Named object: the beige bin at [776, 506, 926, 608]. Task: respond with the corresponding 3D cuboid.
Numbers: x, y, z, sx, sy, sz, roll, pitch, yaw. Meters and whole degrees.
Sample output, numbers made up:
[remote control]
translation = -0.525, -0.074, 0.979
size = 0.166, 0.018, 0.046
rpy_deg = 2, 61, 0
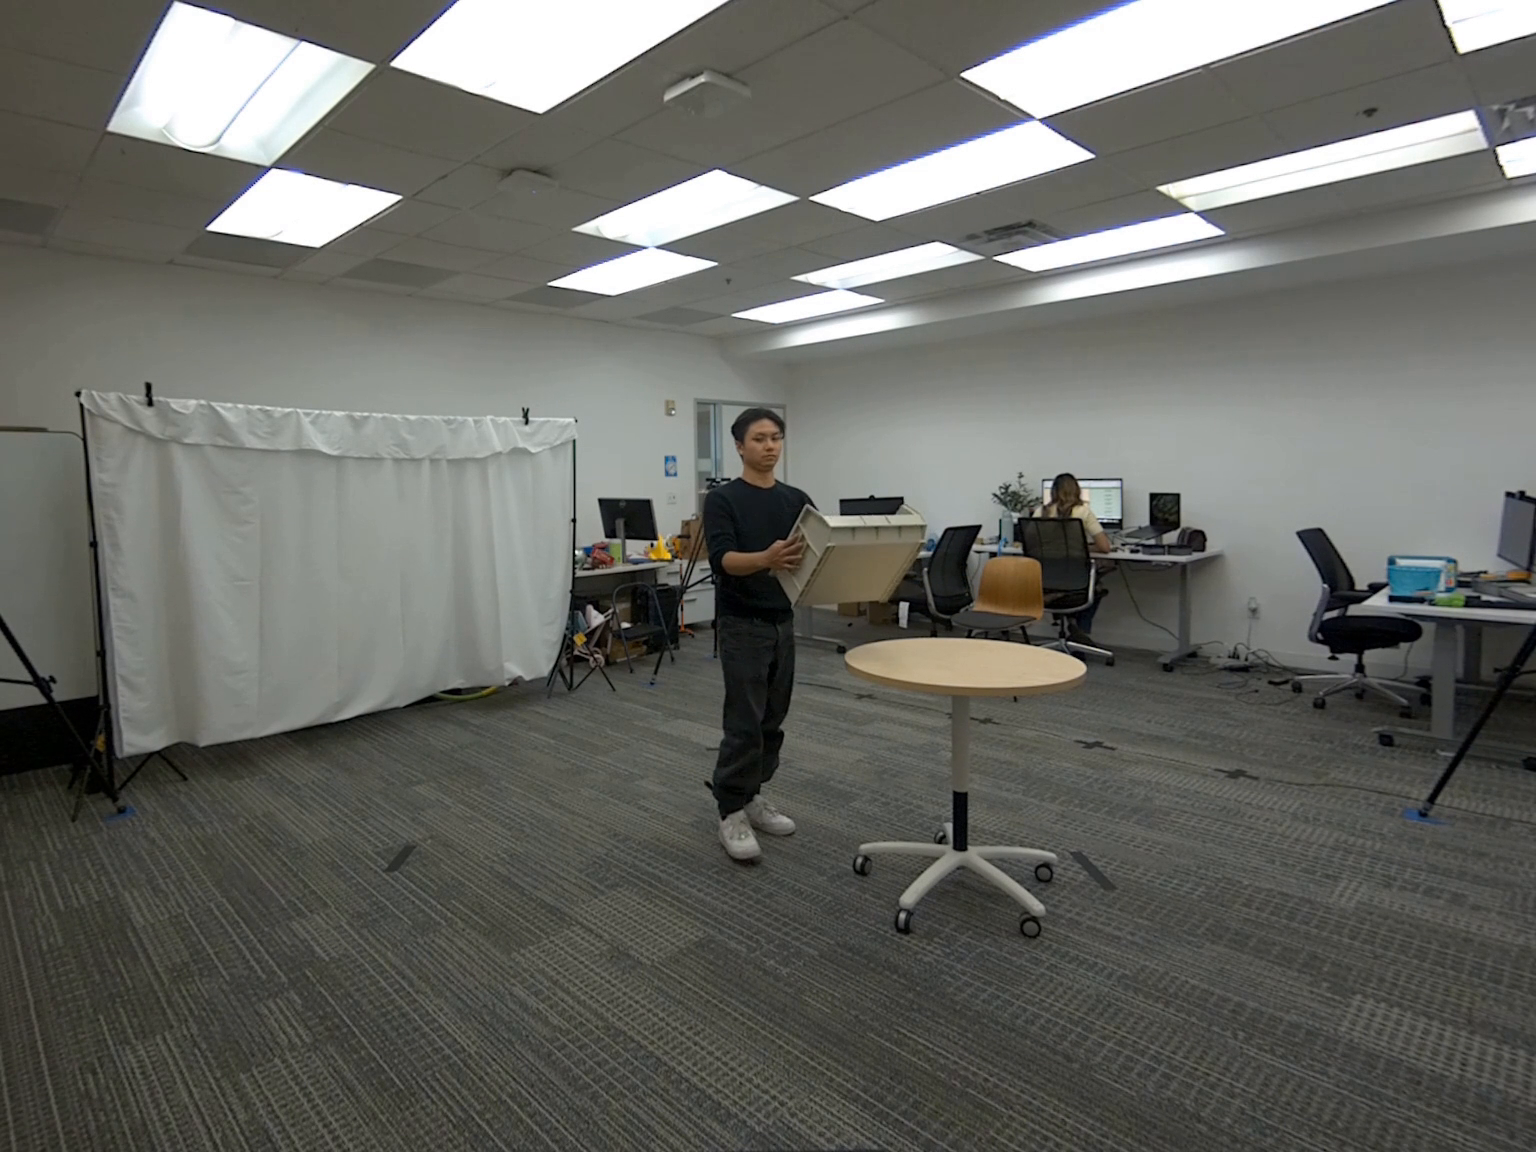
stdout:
[beige bin]
translation = 0.284, -0.079, 2.959
size = 0.412, 0.373, 0.196
rpy_deg = -3, 48, -30
